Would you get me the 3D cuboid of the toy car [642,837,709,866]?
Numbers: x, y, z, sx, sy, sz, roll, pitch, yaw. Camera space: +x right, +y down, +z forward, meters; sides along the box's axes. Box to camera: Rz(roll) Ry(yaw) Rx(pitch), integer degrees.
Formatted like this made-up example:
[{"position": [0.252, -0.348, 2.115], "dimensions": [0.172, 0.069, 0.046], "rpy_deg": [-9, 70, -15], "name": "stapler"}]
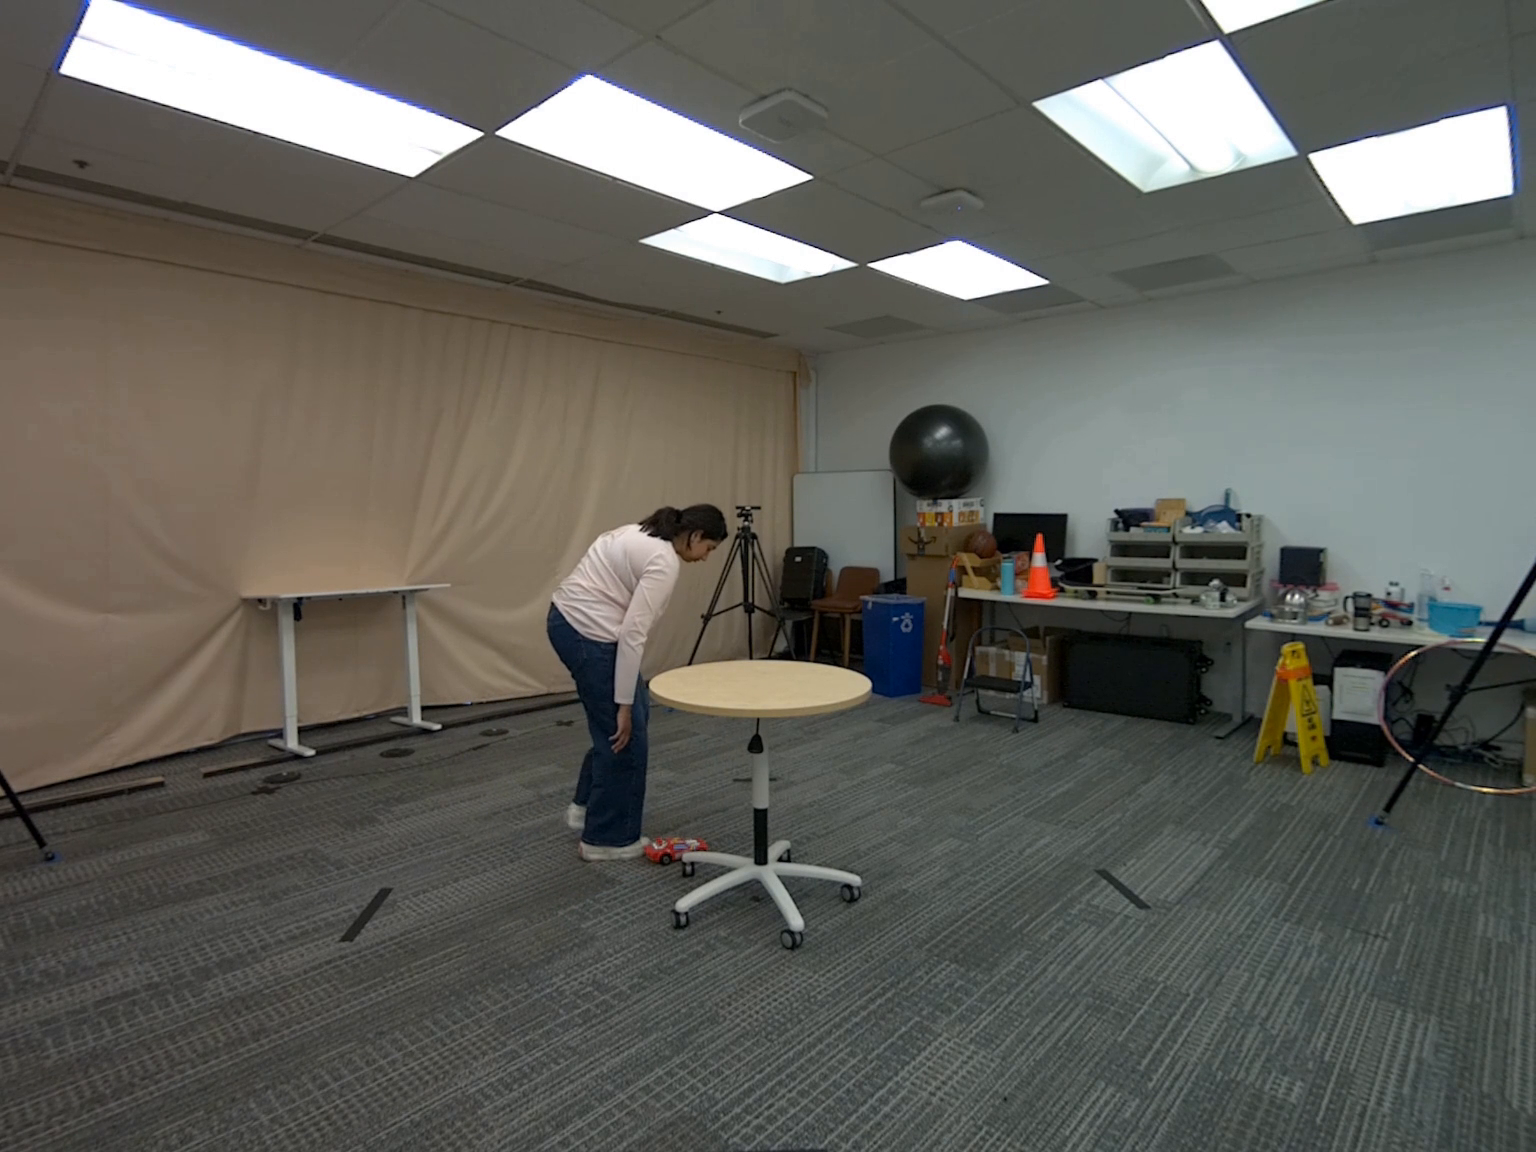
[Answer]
[{"position": [-0.369, 1.085, 3.327], "dimensions": [0.249, 0.083, 0.133], "rpy_deg": [8, 0, -20], "name": "toy car"}]
